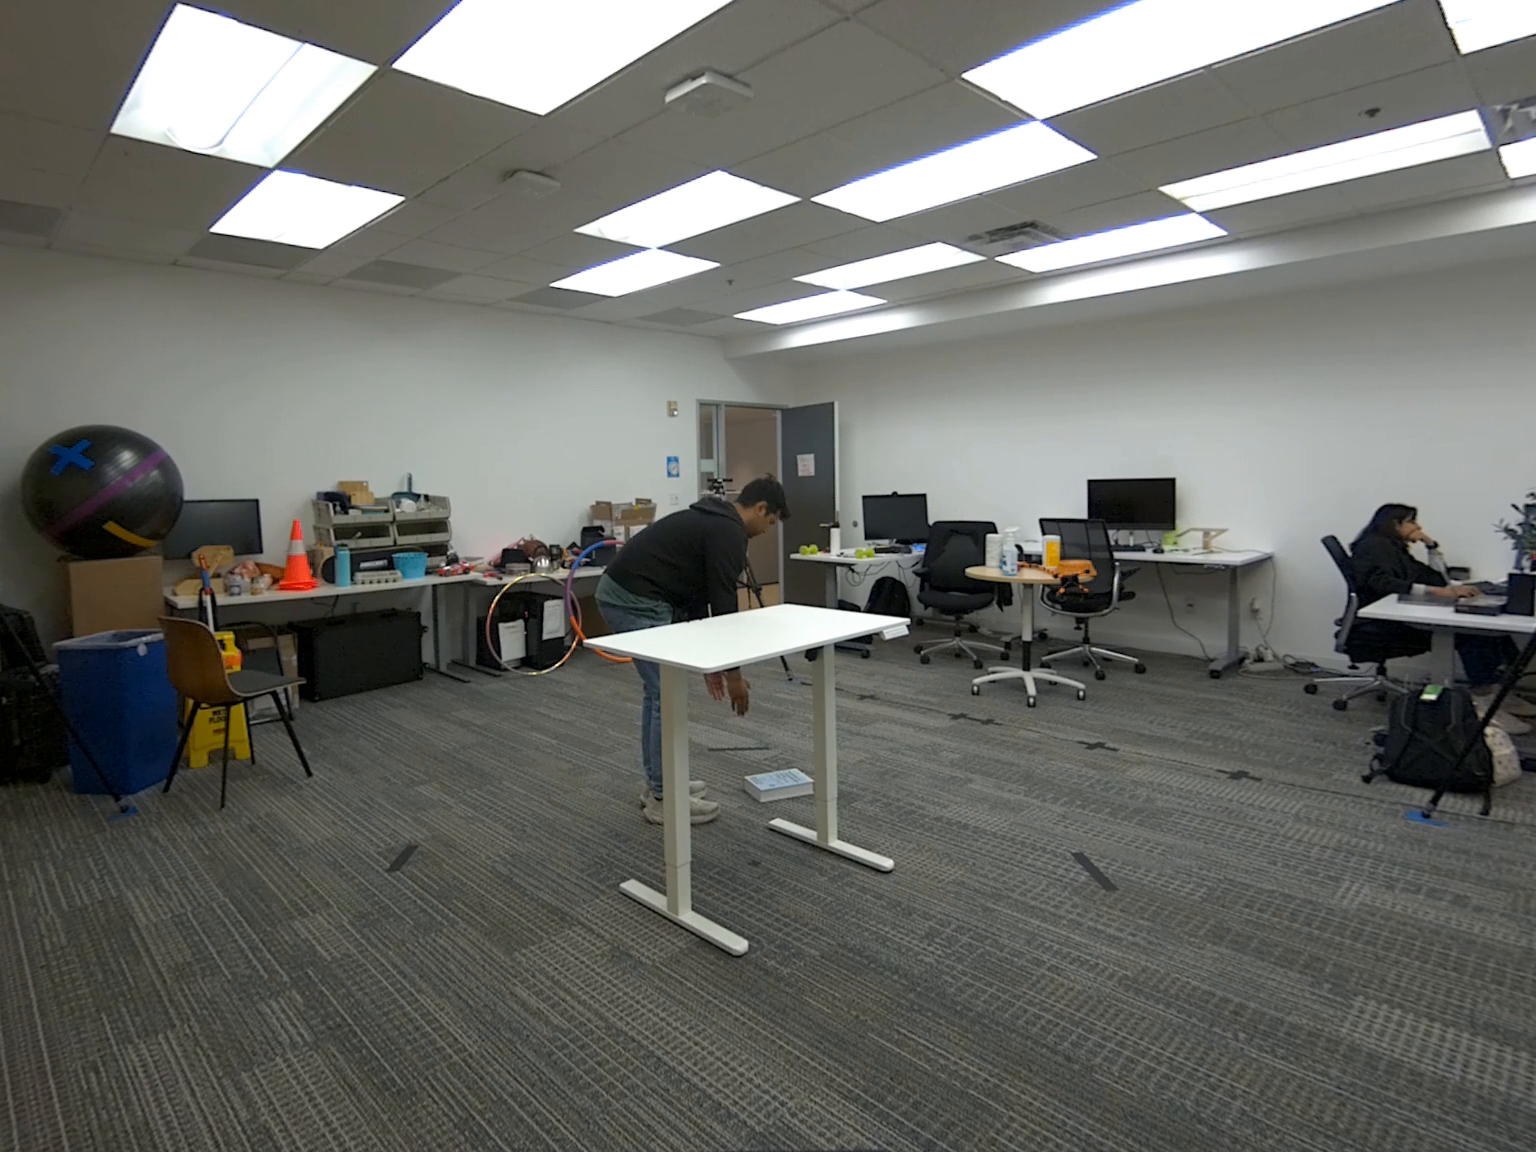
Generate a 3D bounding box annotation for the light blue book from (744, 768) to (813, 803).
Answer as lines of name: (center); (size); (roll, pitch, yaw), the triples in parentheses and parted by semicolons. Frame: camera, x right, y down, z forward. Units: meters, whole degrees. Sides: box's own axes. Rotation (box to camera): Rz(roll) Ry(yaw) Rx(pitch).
light blue book: (0.045, 0.930, 3.811); (0.256, 0.059, 0.196); (-4, 7, -23)
